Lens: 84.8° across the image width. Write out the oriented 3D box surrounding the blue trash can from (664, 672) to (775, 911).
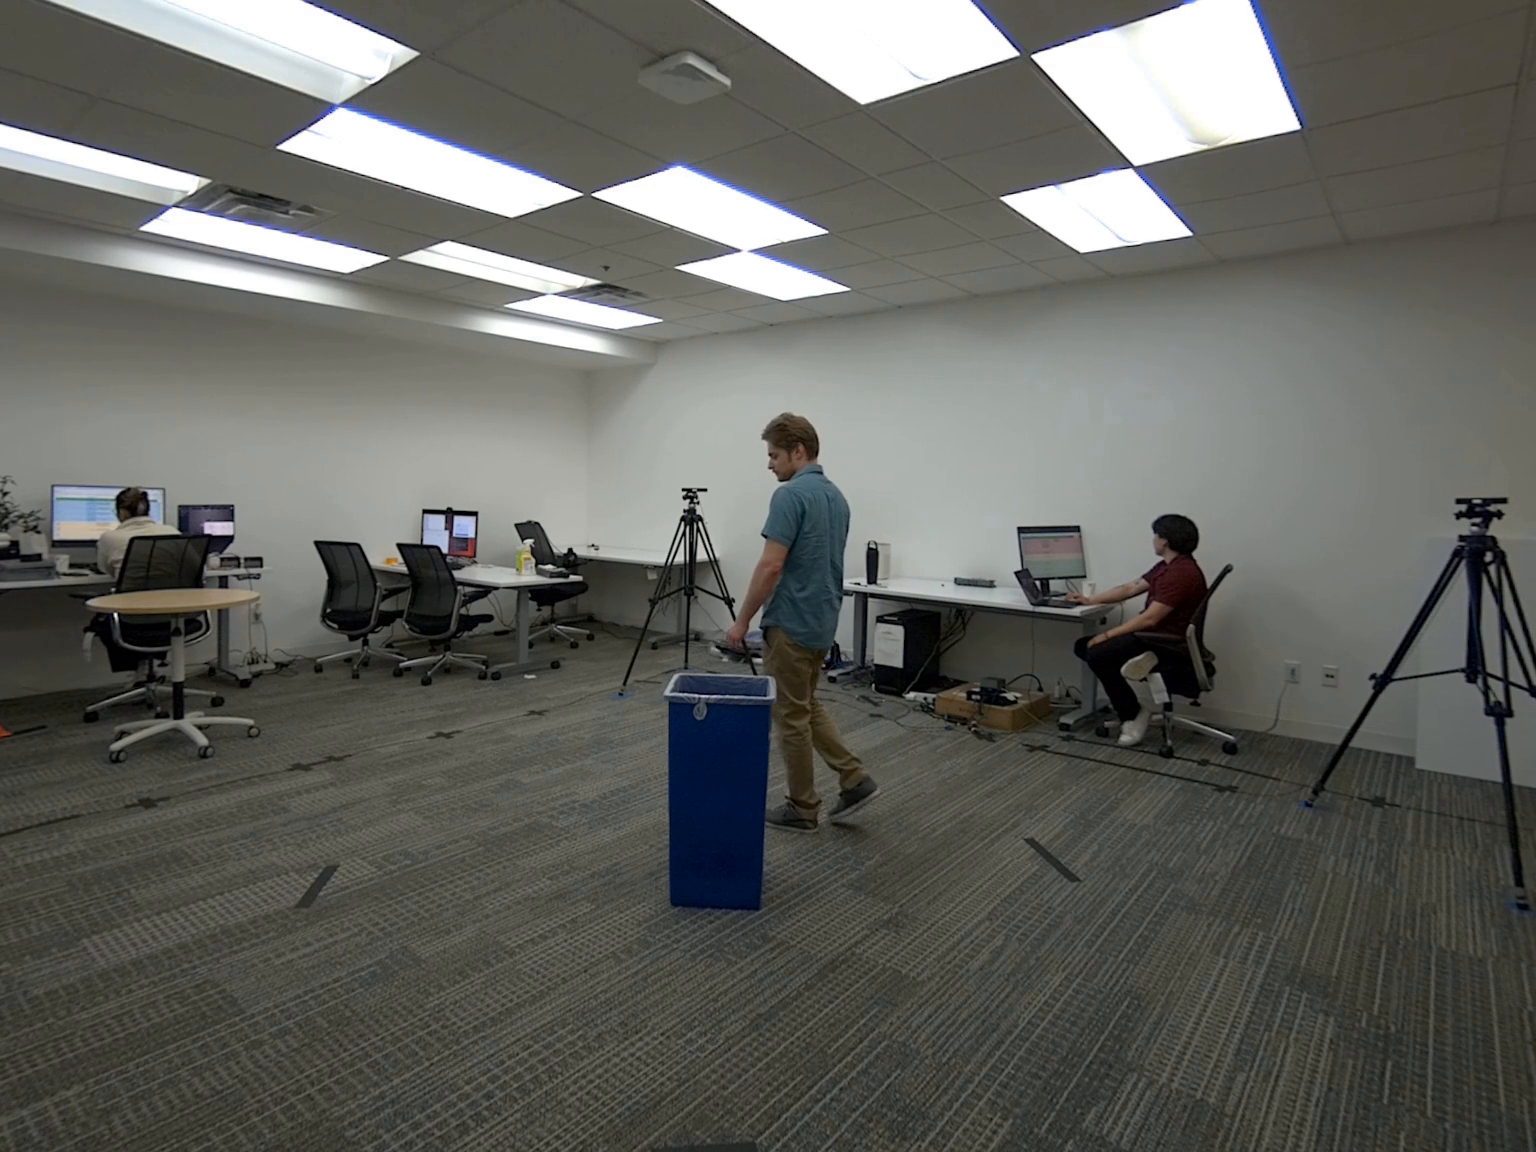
[{"bbox_3d":[-0.180,0.728,2.958,0.379,0.711,0.374,2,3,1],"label":"blue trash can"}]
